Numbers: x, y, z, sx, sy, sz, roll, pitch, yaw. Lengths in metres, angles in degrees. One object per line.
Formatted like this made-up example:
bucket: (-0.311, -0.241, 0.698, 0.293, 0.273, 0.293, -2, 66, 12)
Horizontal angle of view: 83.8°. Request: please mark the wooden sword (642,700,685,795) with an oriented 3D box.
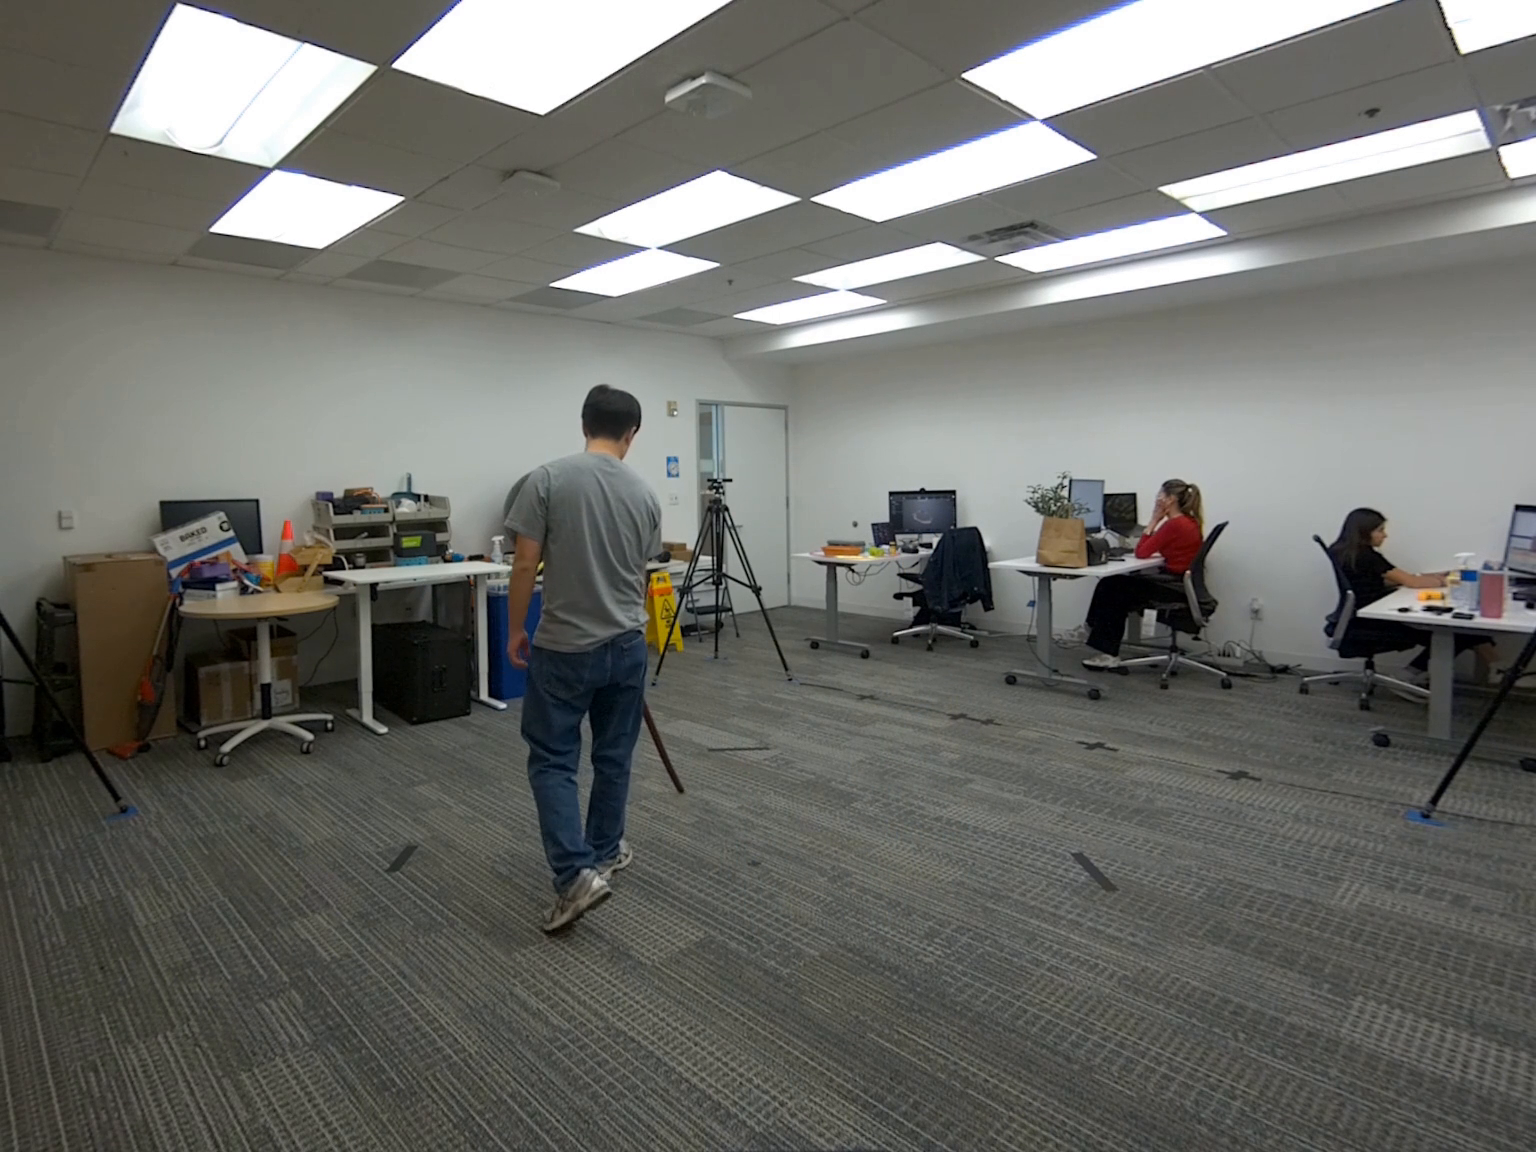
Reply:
wooden sword: (-0.488, 0.615, 3.535, 0.053, 0.991, 0.024, 25, 54, 39)
